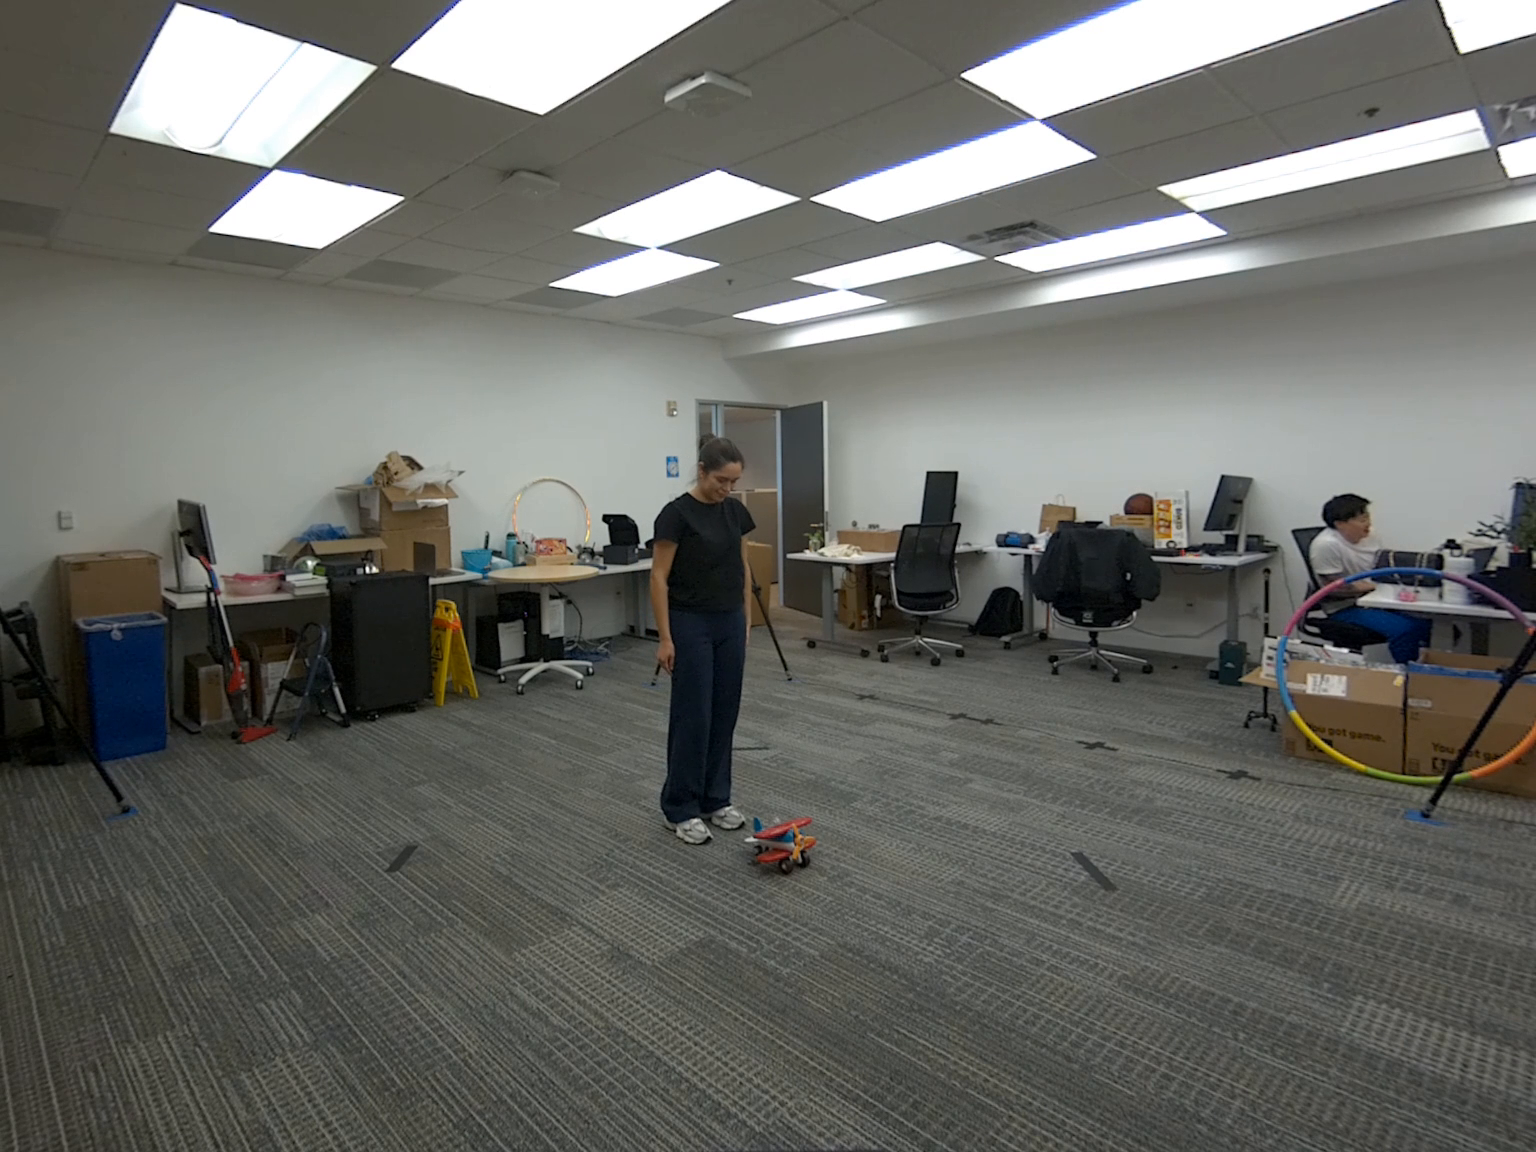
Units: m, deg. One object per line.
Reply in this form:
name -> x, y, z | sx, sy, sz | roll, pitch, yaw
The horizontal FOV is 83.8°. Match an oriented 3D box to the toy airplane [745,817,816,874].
toy airplane -> 0.025, 0.966, 3.110 | 0.265, 0.156, 0.247 | 3, 6, 21
